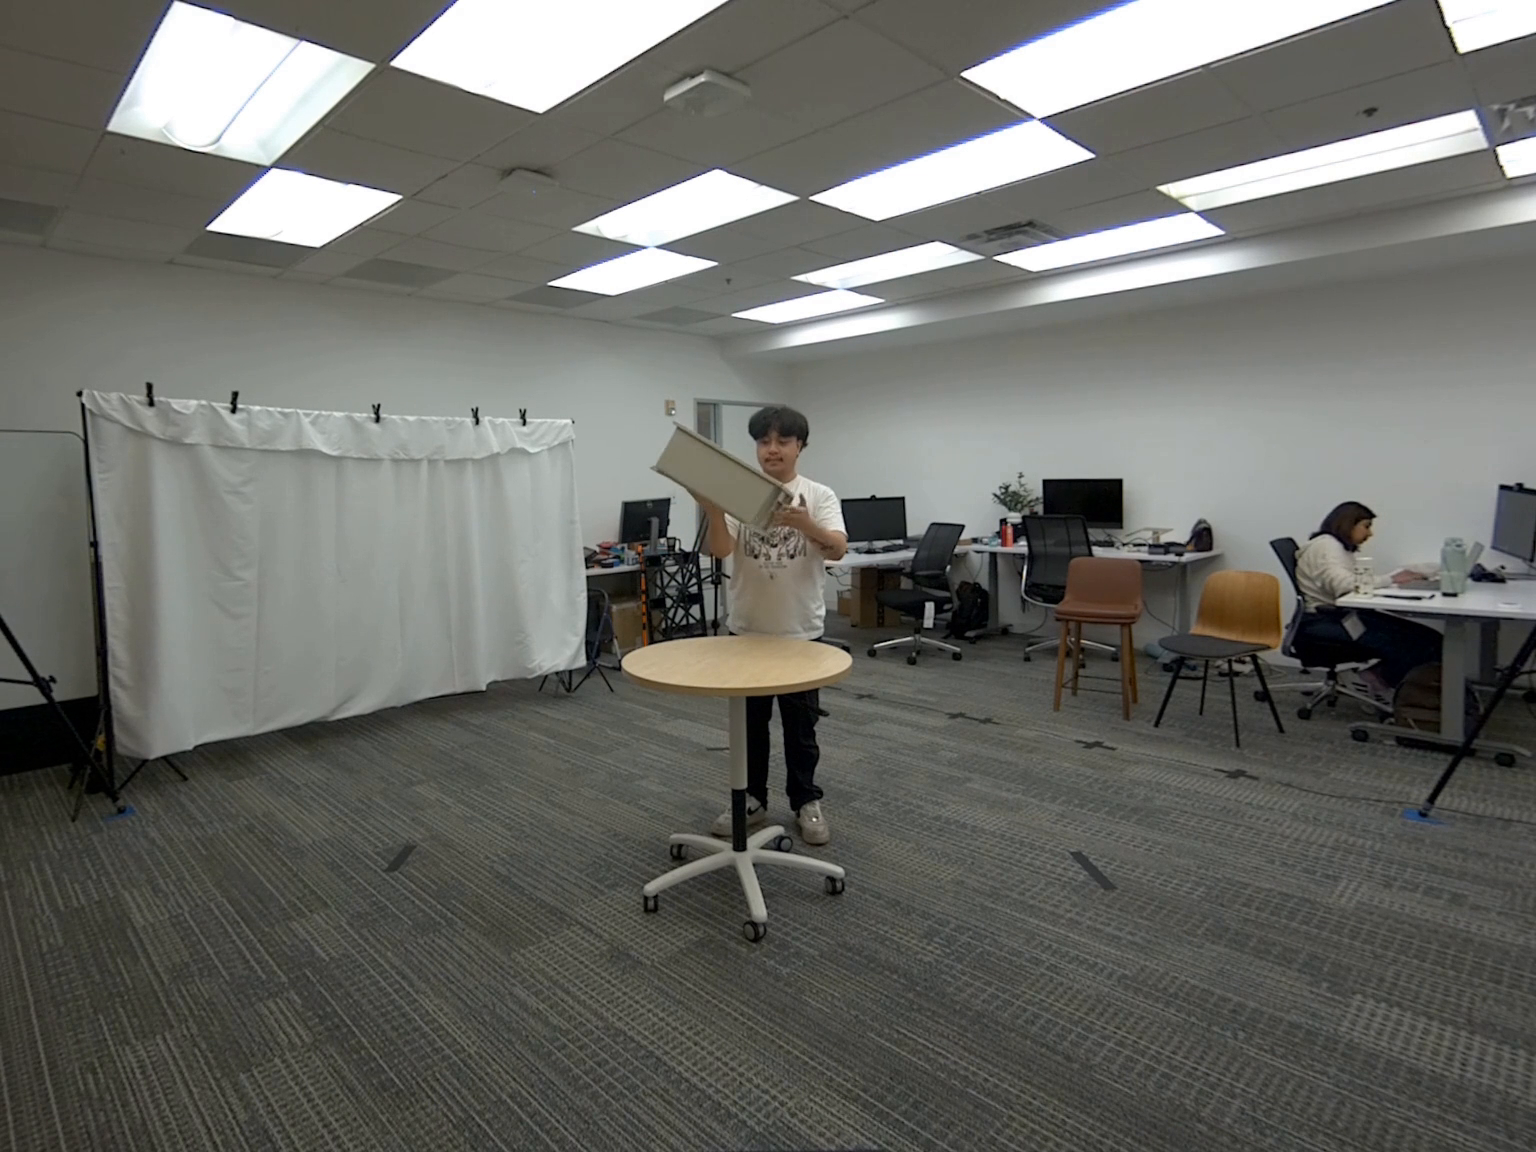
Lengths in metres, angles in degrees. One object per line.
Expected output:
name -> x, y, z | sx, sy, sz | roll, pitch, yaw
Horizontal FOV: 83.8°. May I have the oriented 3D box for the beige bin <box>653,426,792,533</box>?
beige bin -> -0.140, -0.325, 2.959 | 0.429, 0.189, 0.372 | 33, 6, 10
